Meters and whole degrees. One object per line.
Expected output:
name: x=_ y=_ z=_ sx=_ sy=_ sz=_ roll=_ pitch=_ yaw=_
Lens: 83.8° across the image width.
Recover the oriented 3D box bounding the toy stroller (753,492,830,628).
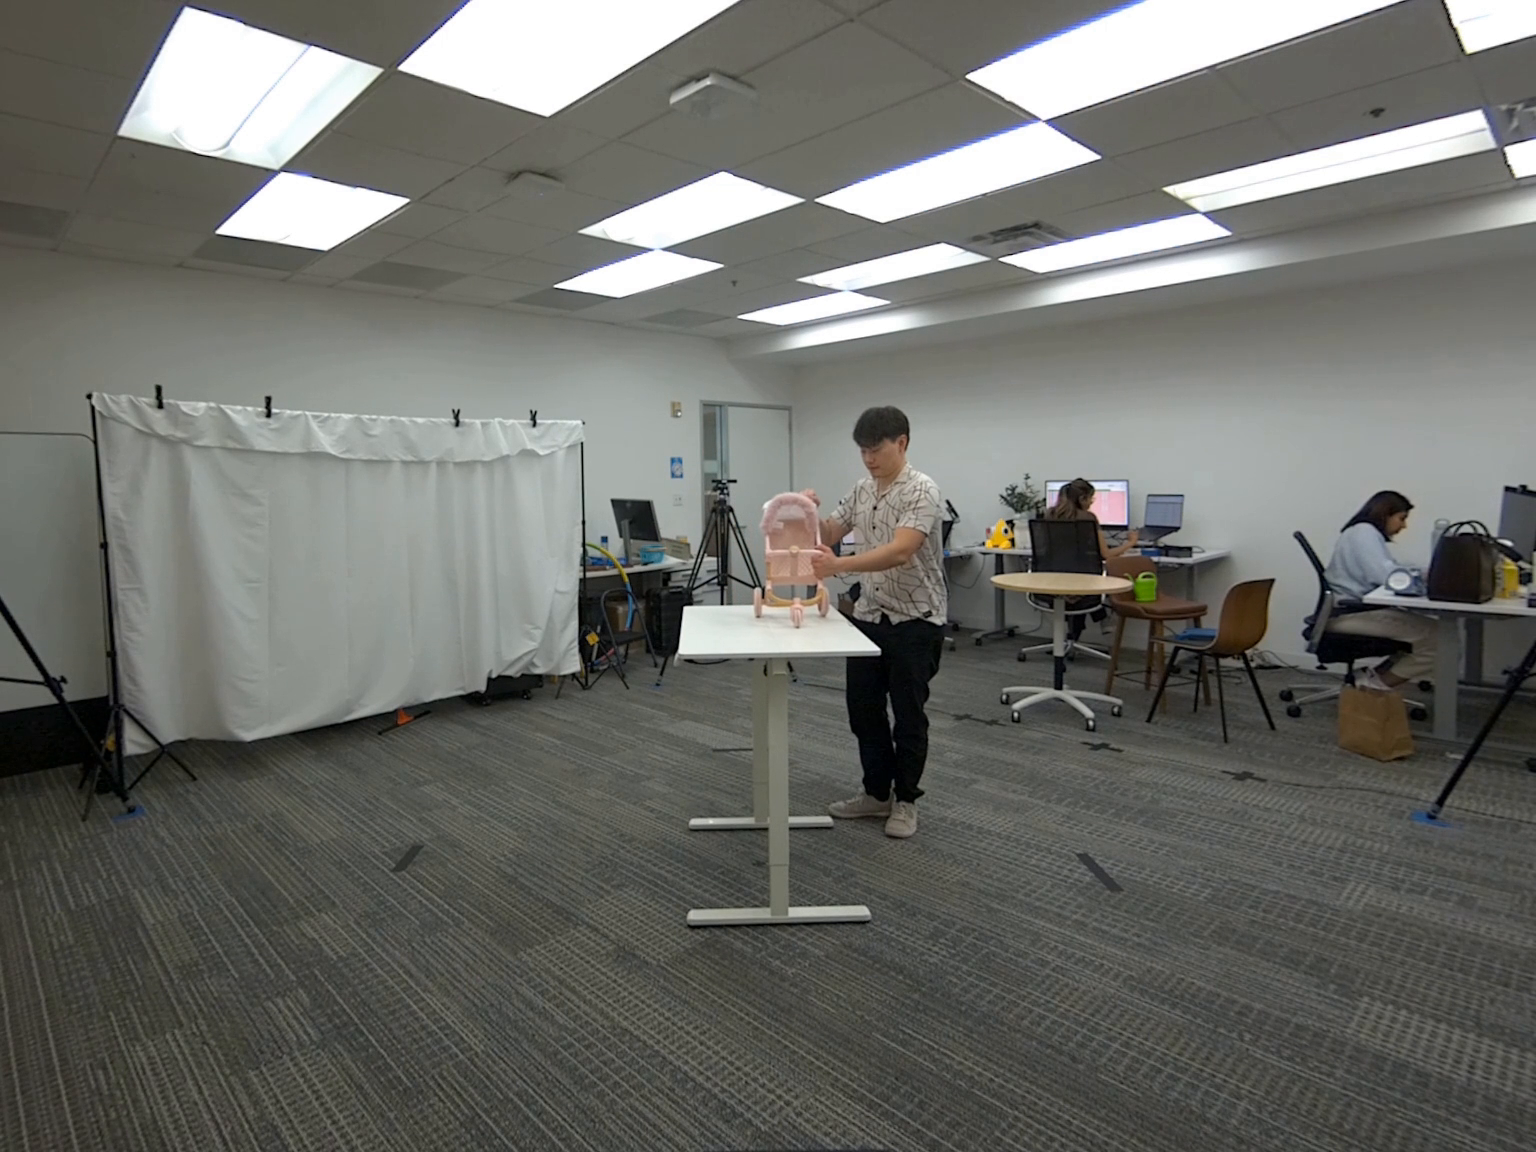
toy stroller: x=0.092 y=-0.063 z=3.139 sx=0.282 sy=0.540 sz=0.337 roll=-1 pitch=-11 yaw=2
